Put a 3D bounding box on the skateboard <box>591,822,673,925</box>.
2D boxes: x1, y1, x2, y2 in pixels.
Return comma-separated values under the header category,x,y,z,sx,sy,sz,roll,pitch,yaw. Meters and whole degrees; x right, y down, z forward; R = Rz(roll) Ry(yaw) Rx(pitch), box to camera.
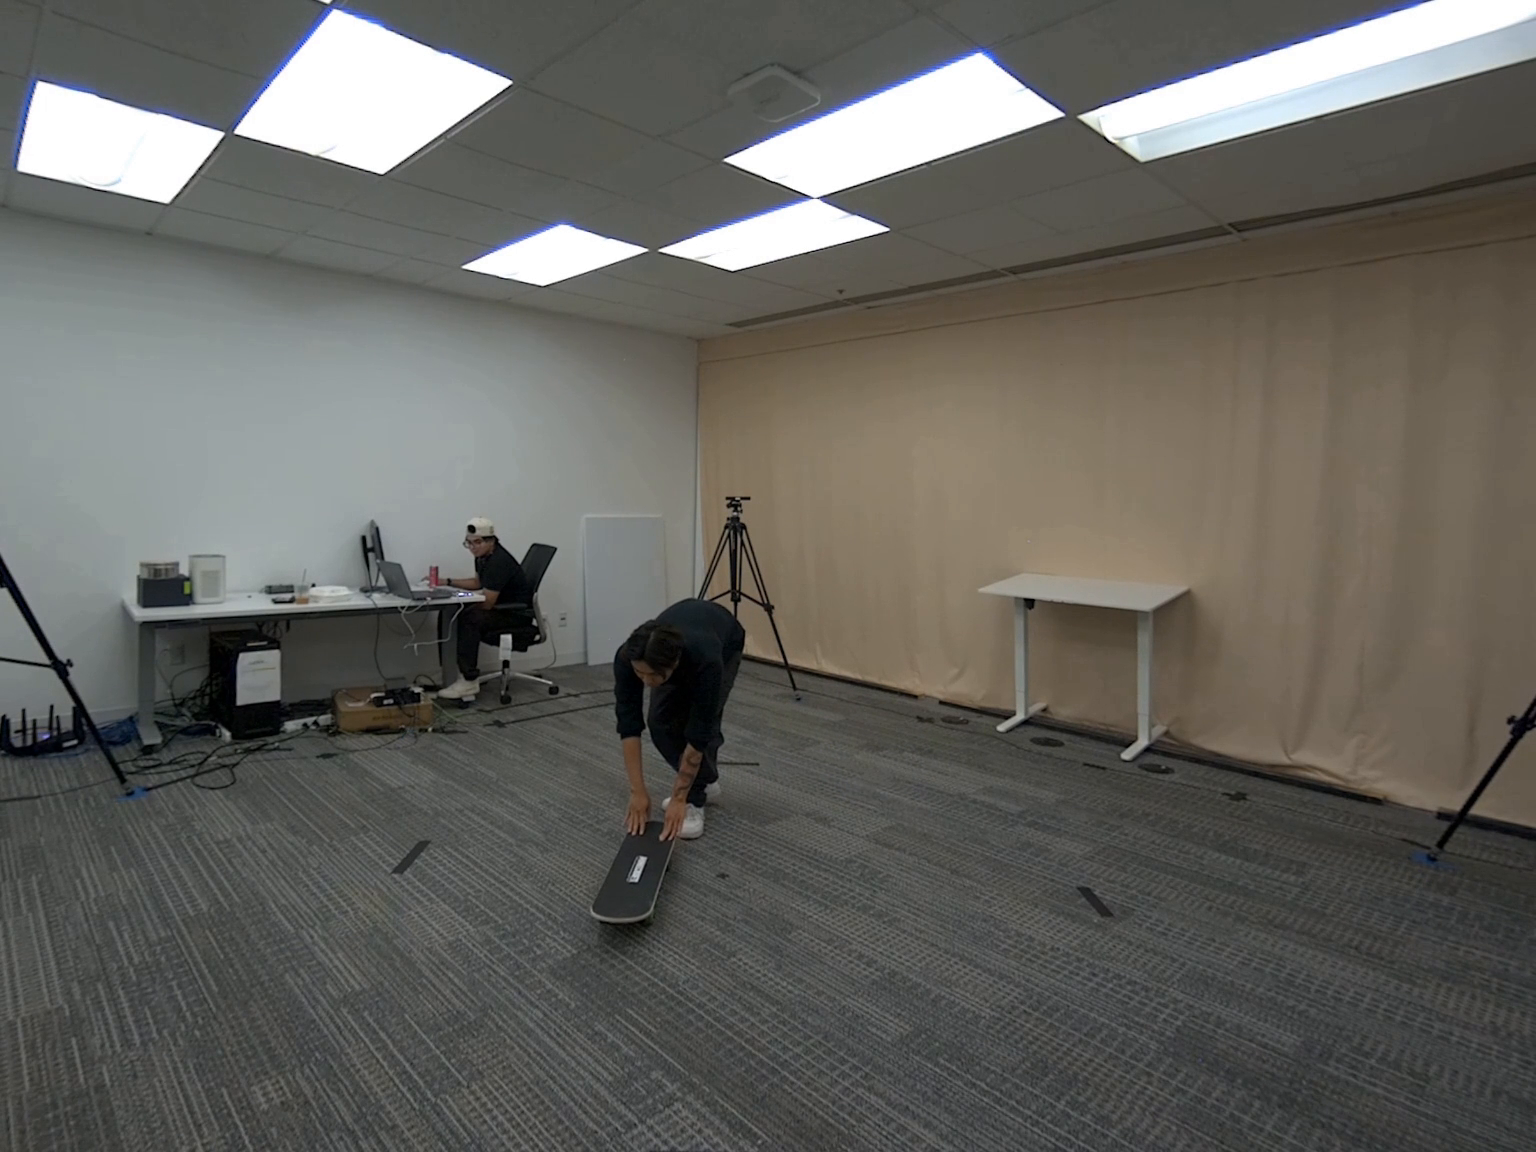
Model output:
category,x,y,z,sx,sy,sz,roll,pitch,yaw
skateboard,-0.470,1.061,2.940,0.194,0.110,0.786,1,5,0
